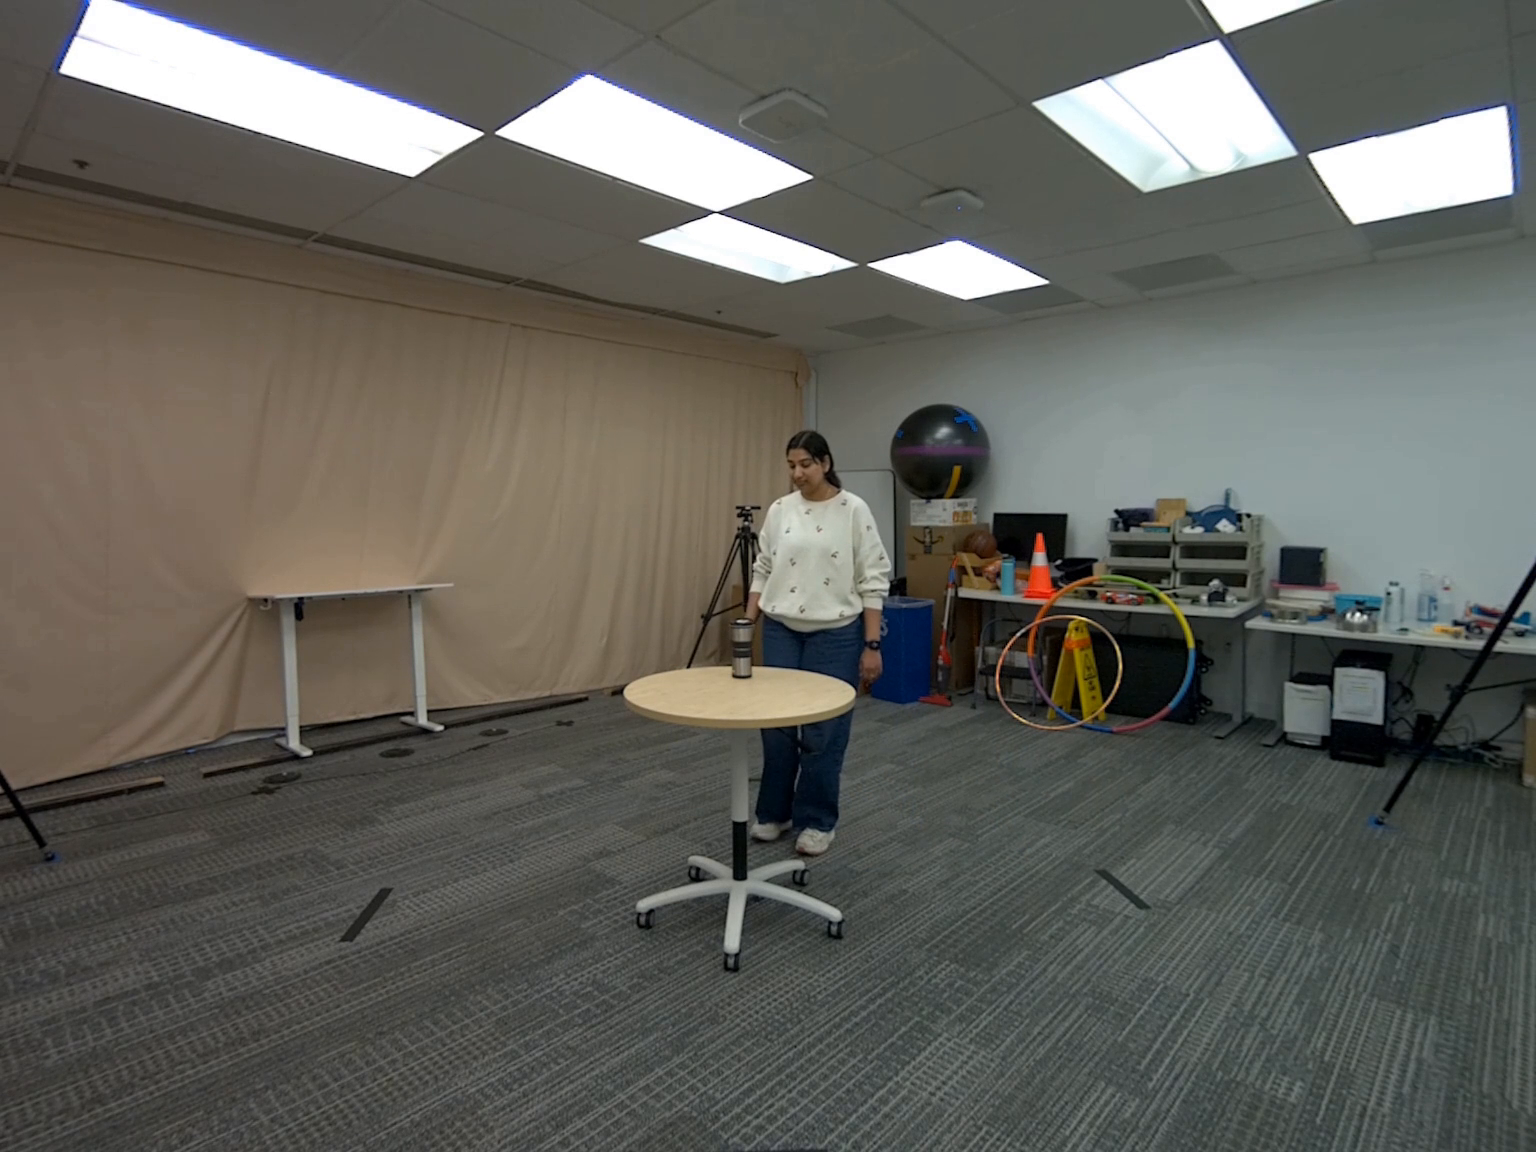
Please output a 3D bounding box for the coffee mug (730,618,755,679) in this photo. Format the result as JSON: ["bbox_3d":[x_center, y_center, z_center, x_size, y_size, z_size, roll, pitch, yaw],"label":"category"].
[{"bbox_3d":[-0.079,0.258,3.006,0.090,0.202,0.119,-1,5,22],"label":"coffee mug"}]
